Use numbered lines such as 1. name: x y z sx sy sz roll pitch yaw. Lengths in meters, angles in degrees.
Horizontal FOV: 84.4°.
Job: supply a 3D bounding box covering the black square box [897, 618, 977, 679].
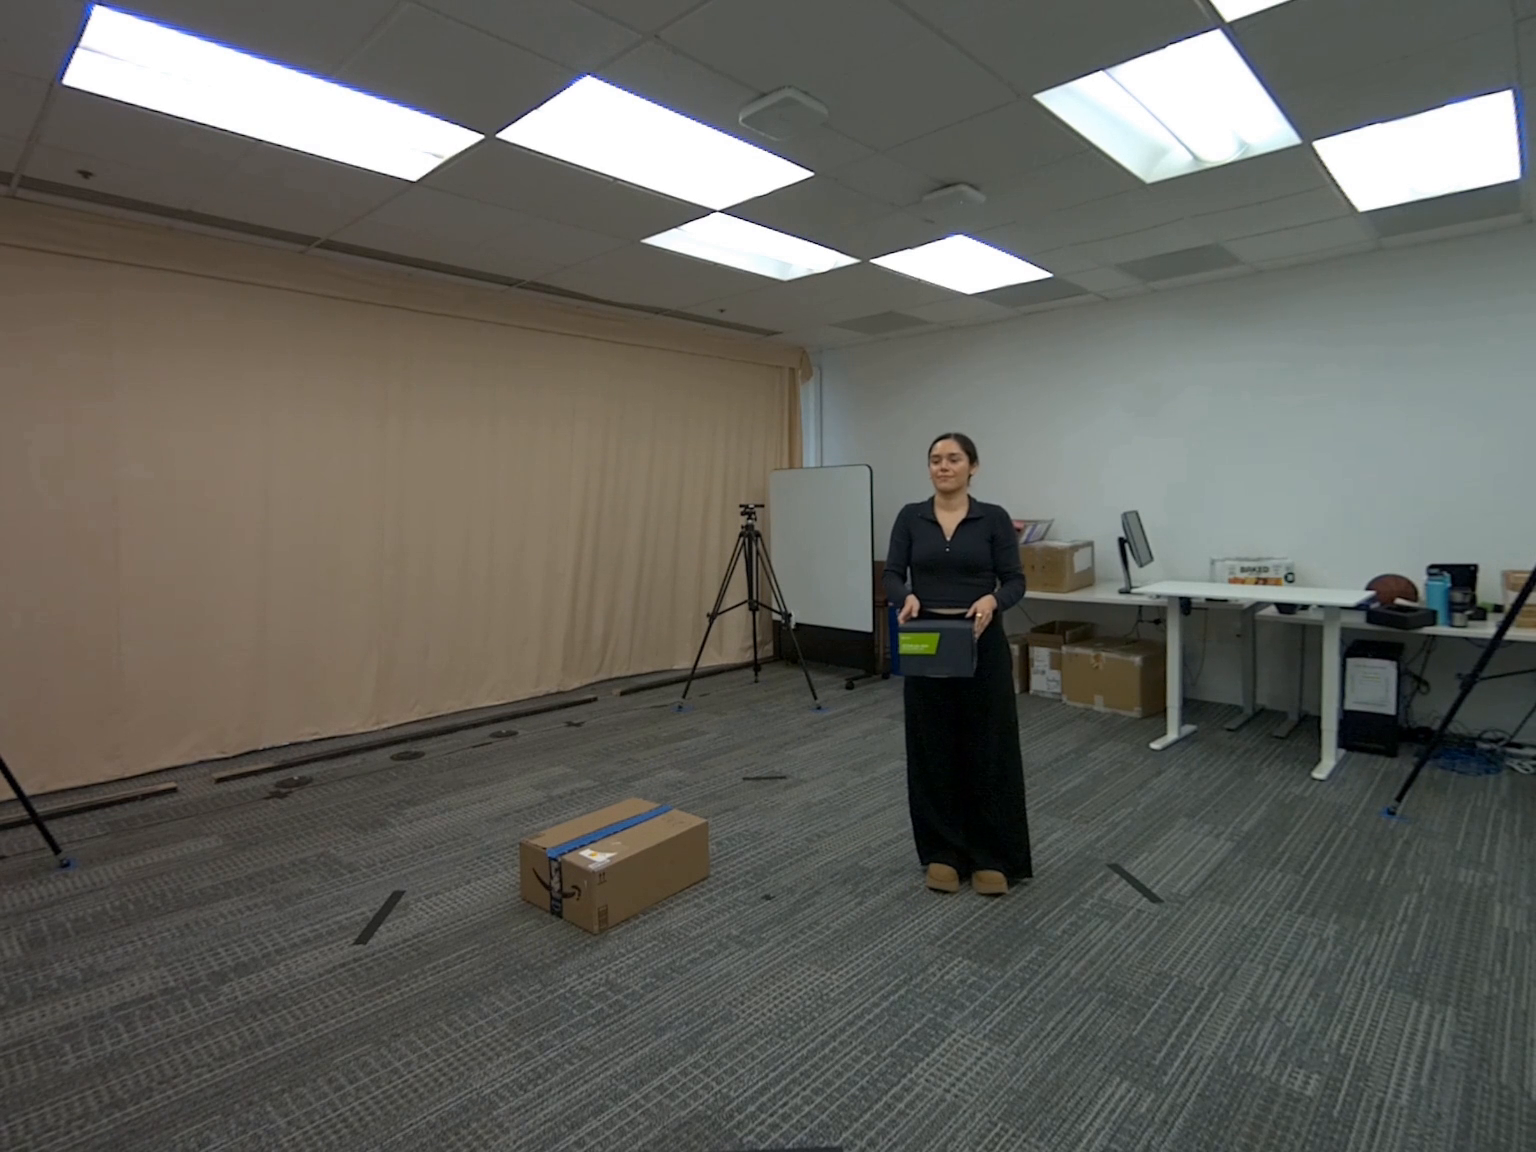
1. black square box: 0.547 0.230 2.735 0.232 0.156 0.213 0 2 19
